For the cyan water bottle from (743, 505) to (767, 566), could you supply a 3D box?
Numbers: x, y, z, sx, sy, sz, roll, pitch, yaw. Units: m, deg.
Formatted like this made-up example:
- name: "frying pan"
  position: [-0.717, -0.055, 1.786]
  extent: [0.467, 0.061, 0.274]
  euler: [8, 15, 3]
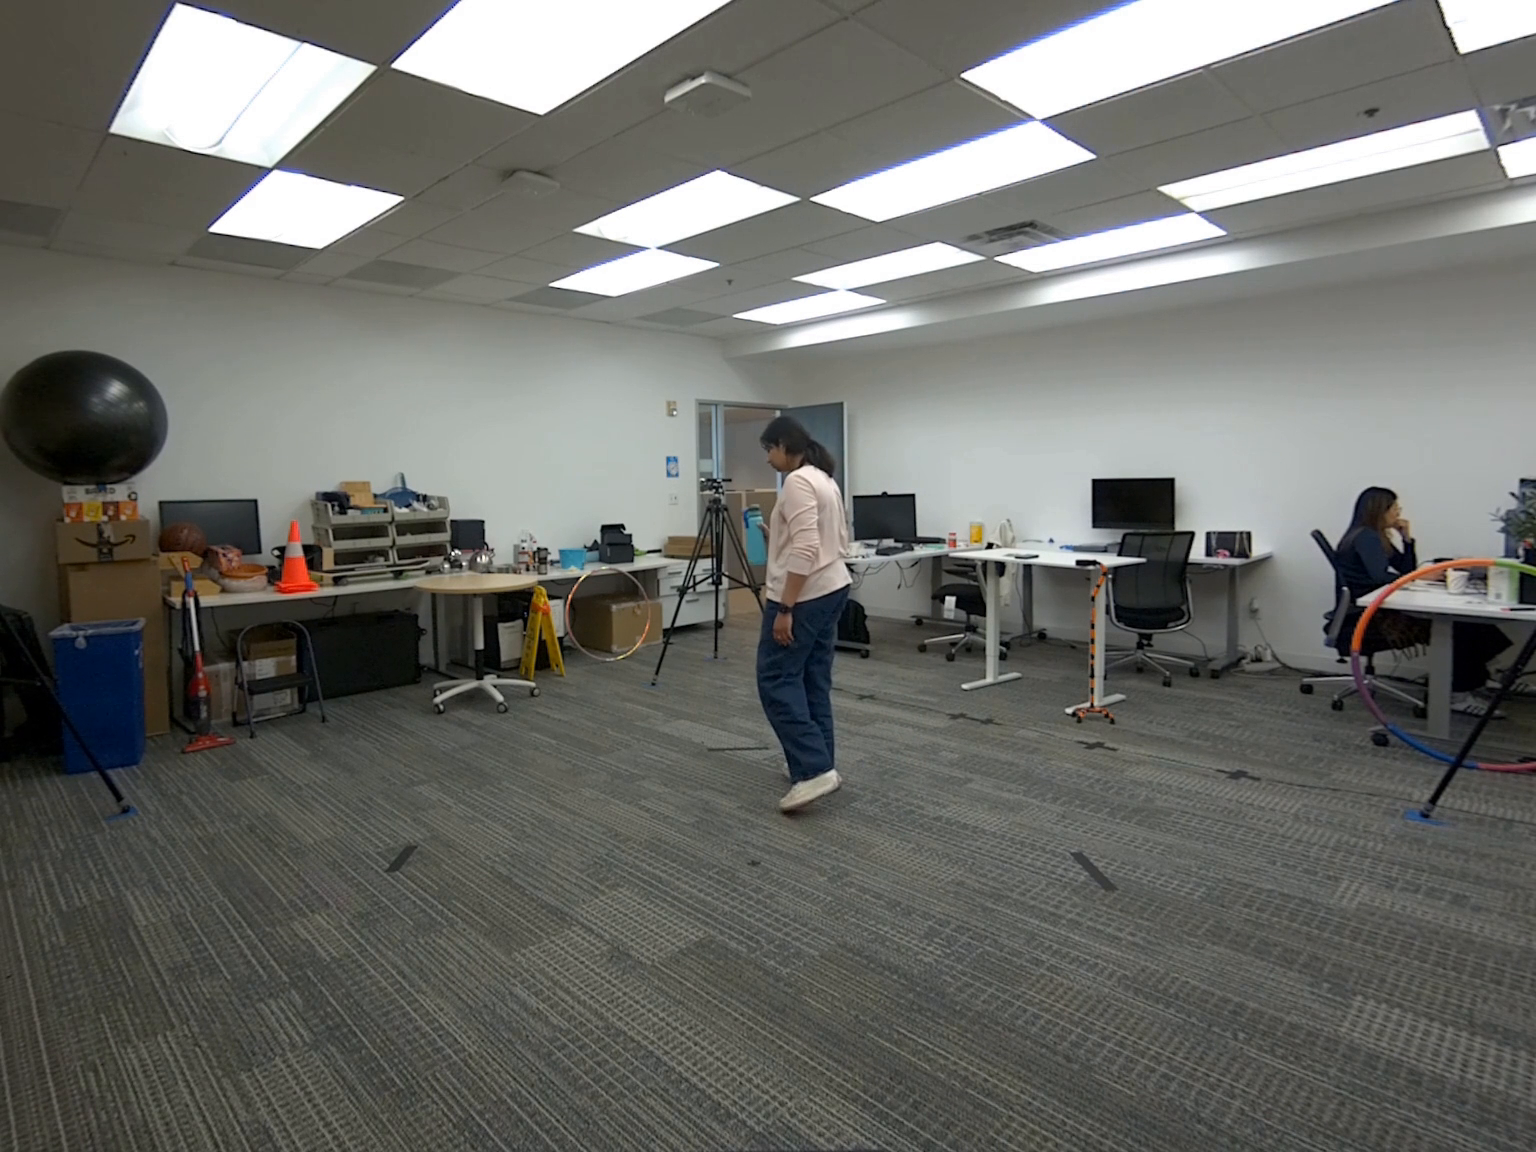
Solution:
- name: "cyan water bottle"
  position: [-0.062, -0.200, 4.088]
  extent: [0.092, 0.281, 0.093]
  euler: [-7, 8, -1]
